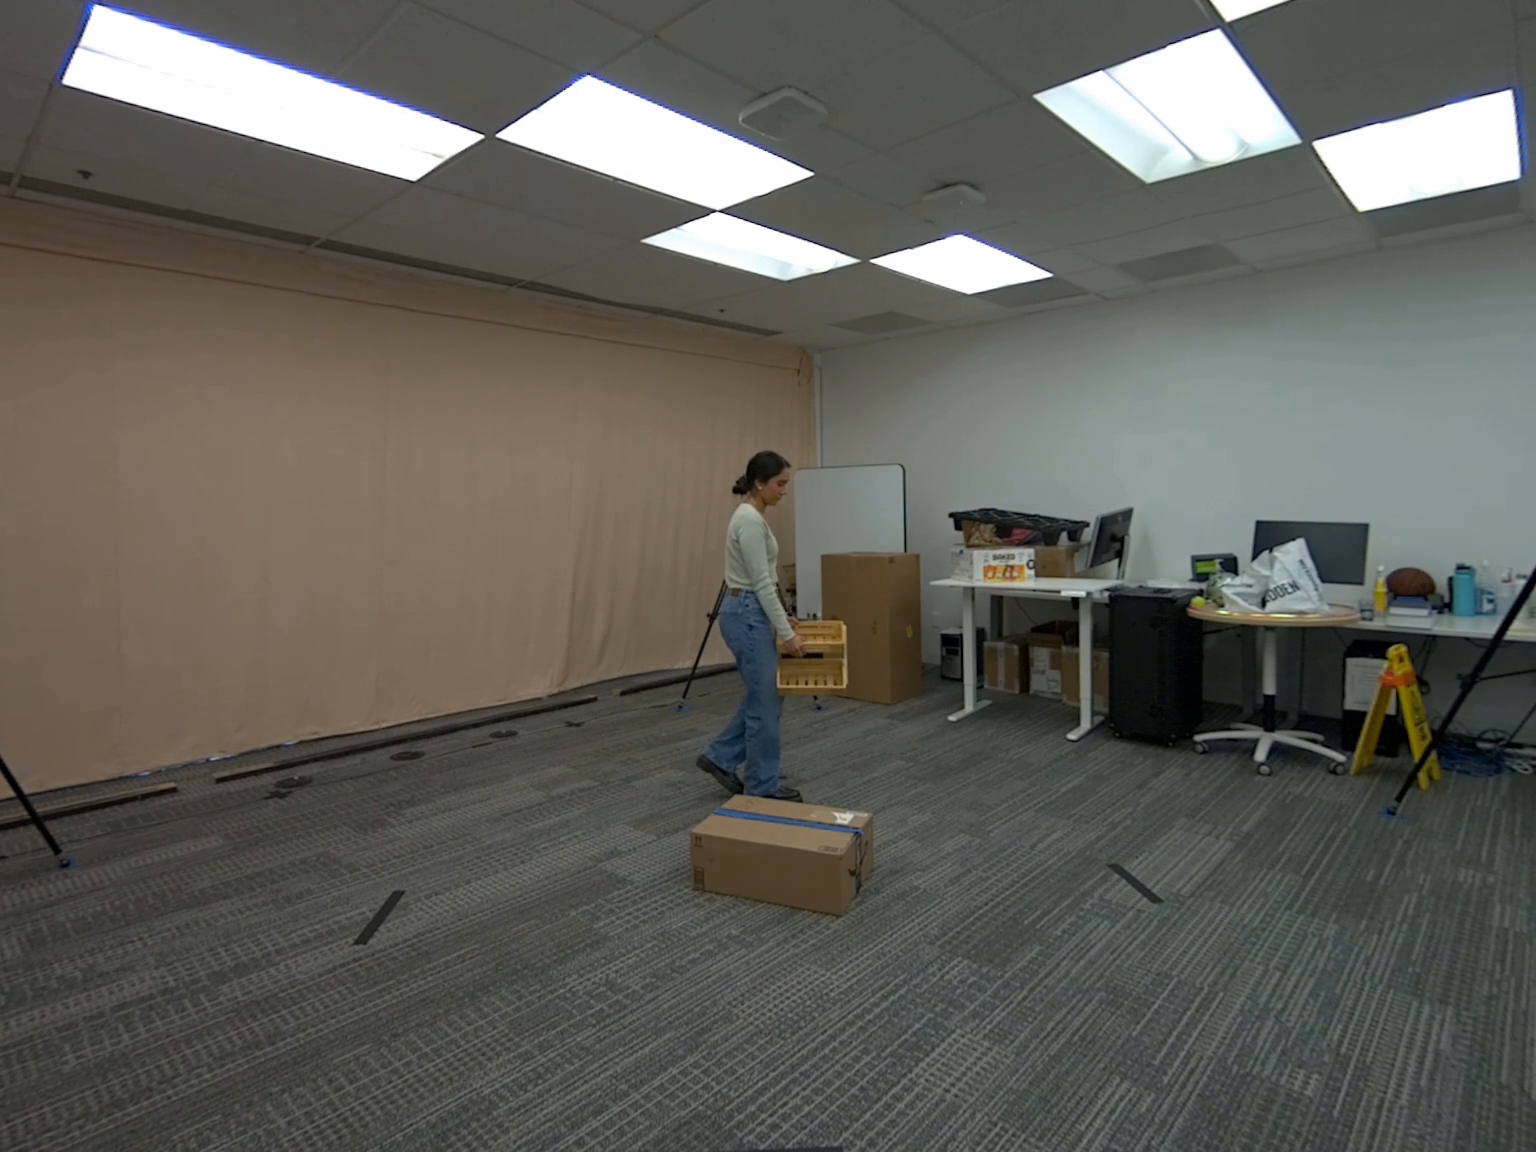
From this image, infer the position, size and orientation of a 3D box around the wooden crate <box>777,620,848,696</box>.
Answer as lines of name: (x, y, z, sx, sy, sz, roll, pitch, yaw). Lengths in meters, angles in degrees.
wooden crate: (0.199, 0.368, 3.798, 0.326, 0.271, 0.303, -2, 12, 4)
